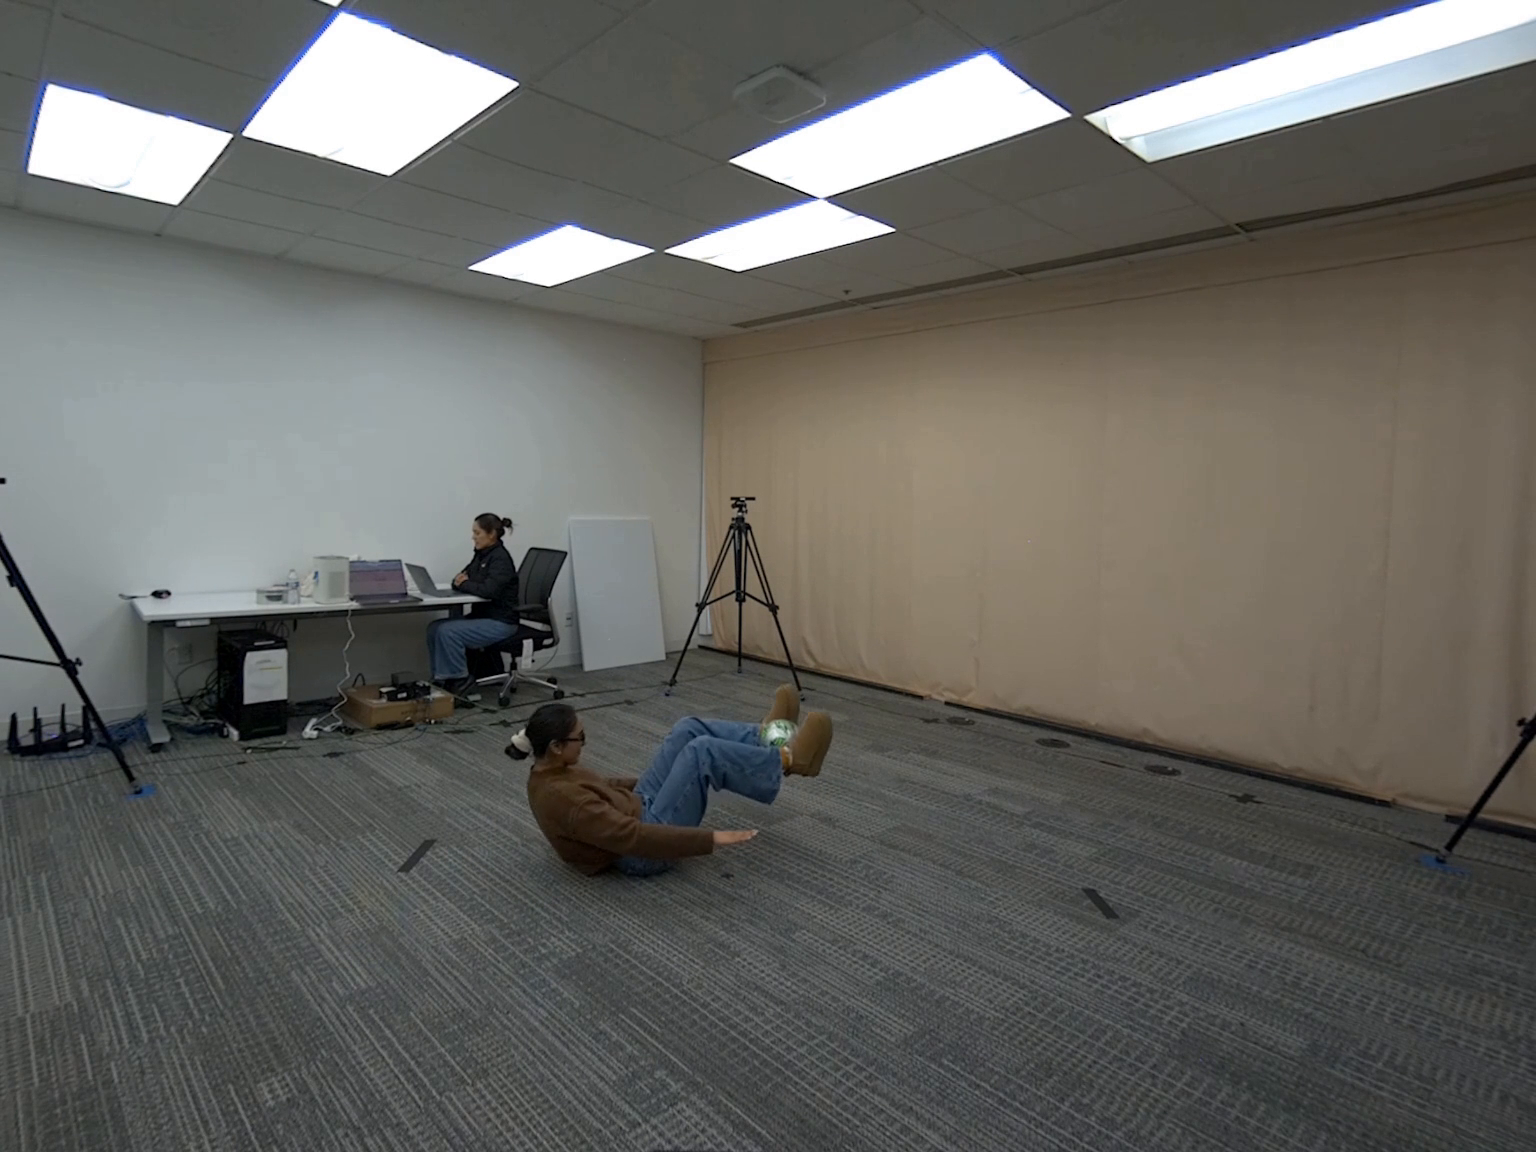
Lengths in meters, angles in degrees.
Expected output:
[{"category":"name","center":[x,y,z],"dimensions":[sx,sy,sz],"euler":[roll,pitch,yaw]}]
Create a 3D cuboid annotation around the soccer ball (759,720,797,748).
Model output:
[{"category":"soccer ball","center":[0.038,0.686,3.440],"dimensions":[0.187,0.187,0.188],"euler":[1,4,-1]}]
